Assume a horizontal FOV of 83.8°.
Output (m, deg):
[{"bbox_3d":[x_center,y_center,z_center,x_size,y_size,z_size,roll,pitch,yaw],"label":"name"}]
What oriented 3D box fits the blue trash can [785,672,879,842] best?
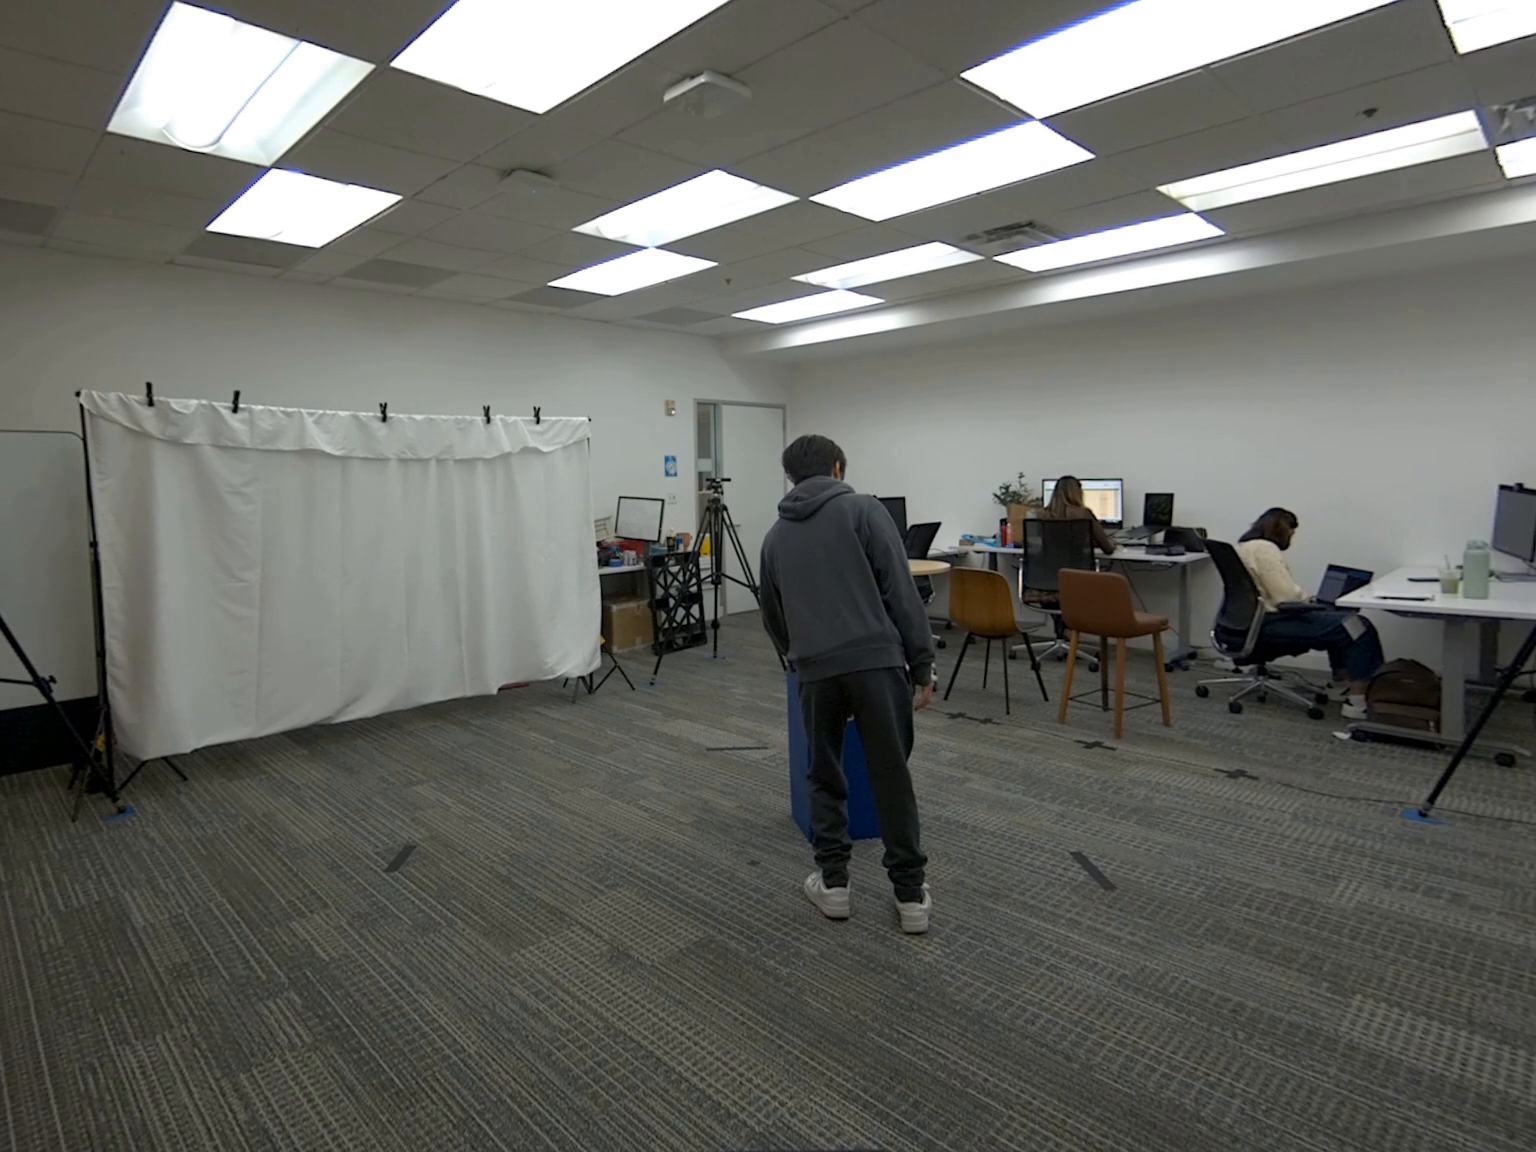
[{"bbox_3d":[0.282,0.649,3.414,0.370,0.711,0.383,-2,4,-11],"label":"blue trash can"}]
